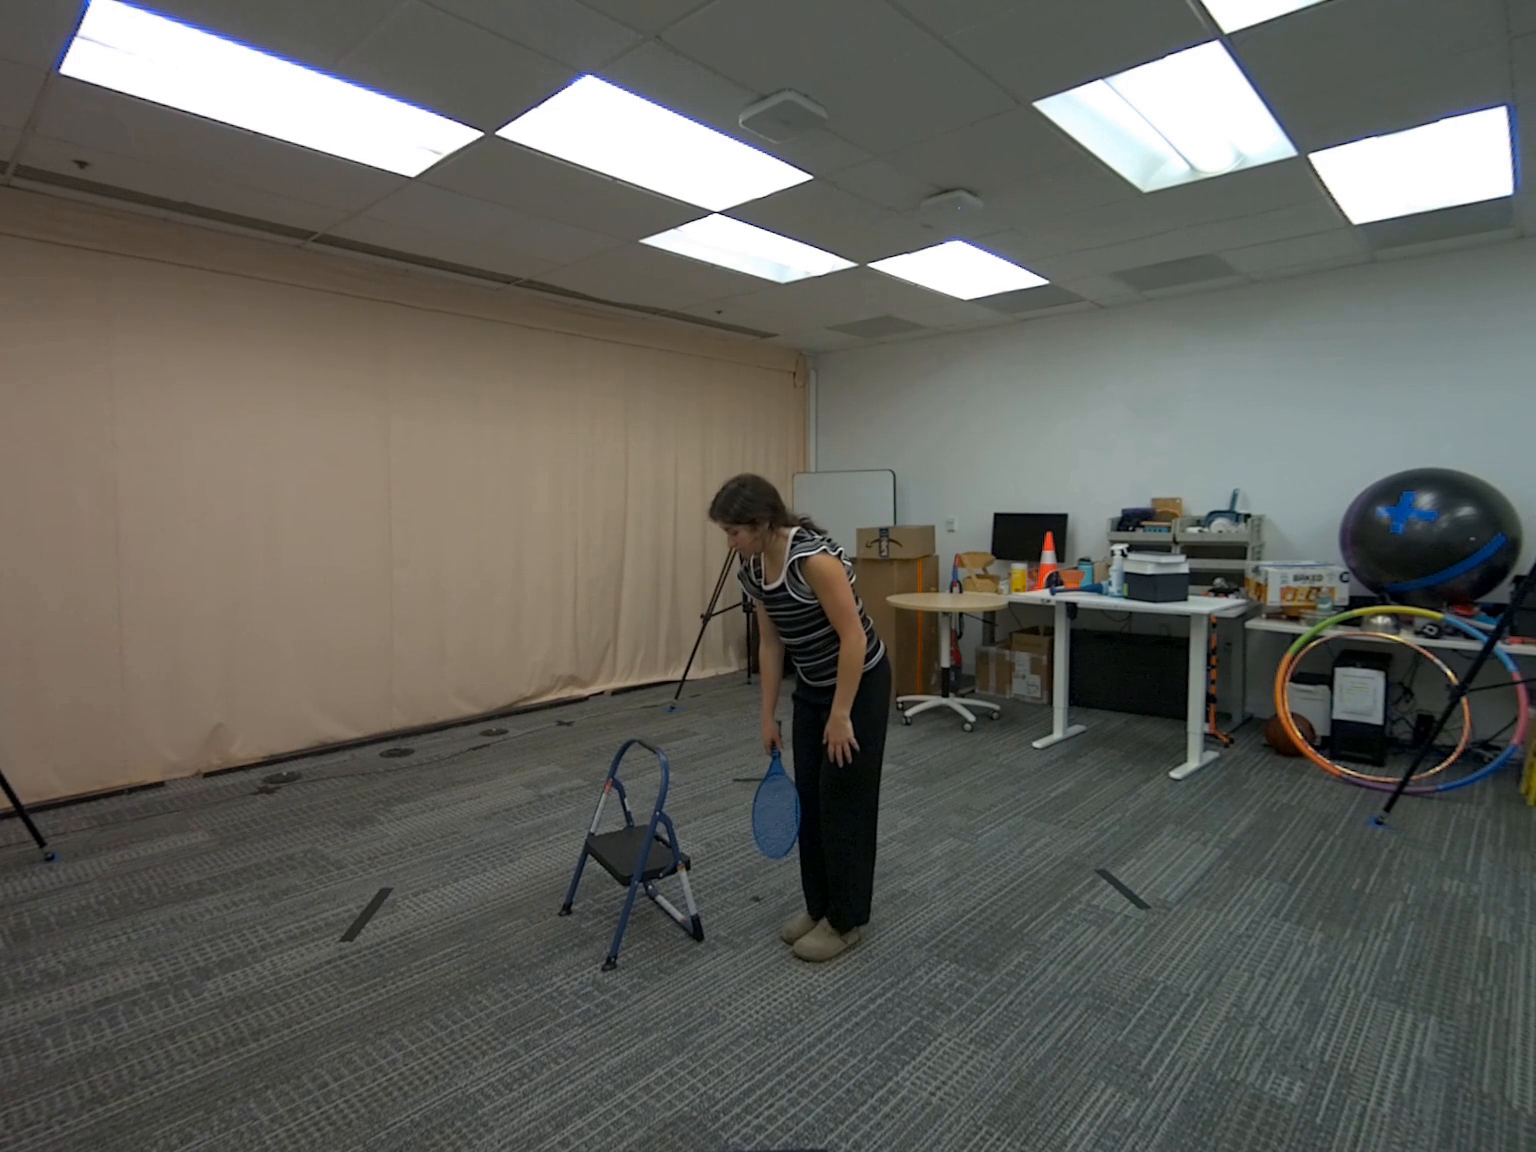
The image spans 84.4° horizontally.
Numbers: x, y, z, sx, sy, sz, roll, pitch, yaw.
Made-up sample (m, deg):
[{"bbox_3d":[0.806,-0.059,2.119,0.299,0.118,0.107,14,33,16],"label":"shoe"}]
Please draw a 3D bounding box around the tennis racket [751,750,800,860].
[{"bbox_3d":[0.037,0.697,2.732,0.031,0.437,0.219,16,-22,-37],"label":"tennis racket"}]
